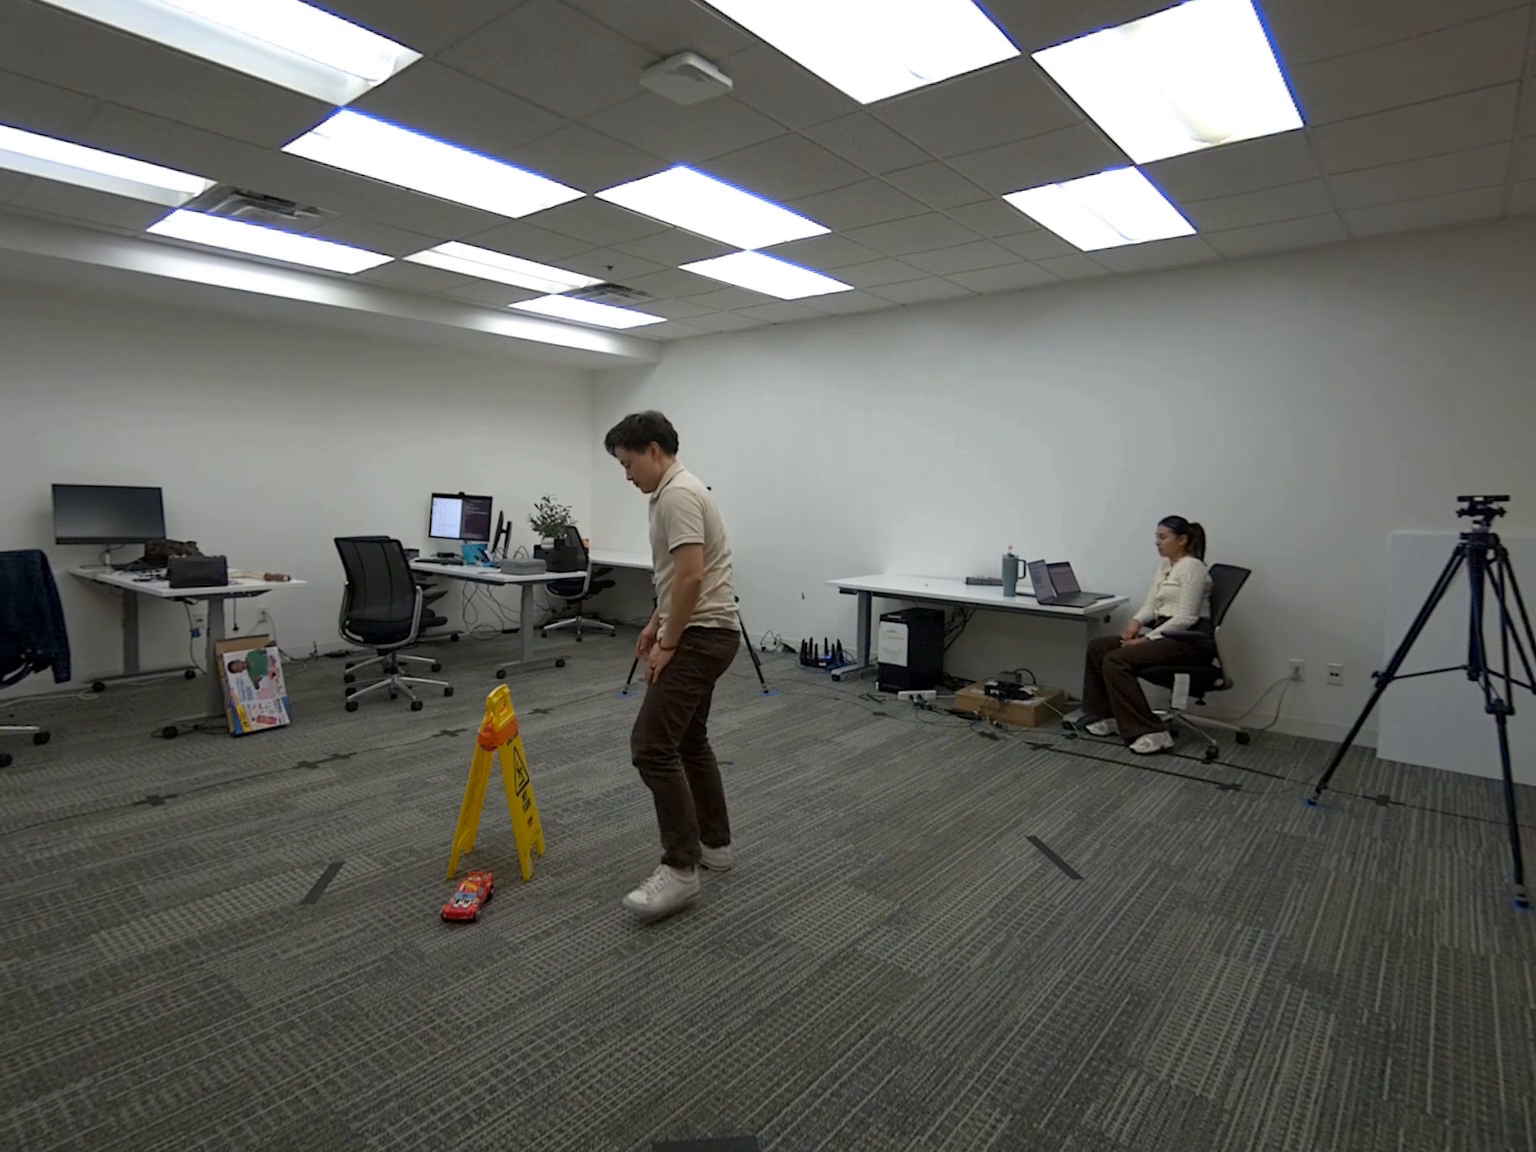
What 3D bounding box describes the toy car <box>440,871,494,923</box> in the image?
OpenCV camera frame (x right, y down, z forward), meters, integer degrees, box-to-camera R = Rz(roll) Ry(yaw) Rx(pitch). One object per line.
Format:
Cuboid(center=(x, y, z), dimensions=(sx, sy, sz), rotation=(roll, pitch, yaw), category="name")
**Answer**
Cuboid(center=(-0.996, 1.055, 2.799), dimensions=(0.130, 0.082, 0.258), rotation=(-1, 16, -1), category="toy car")
